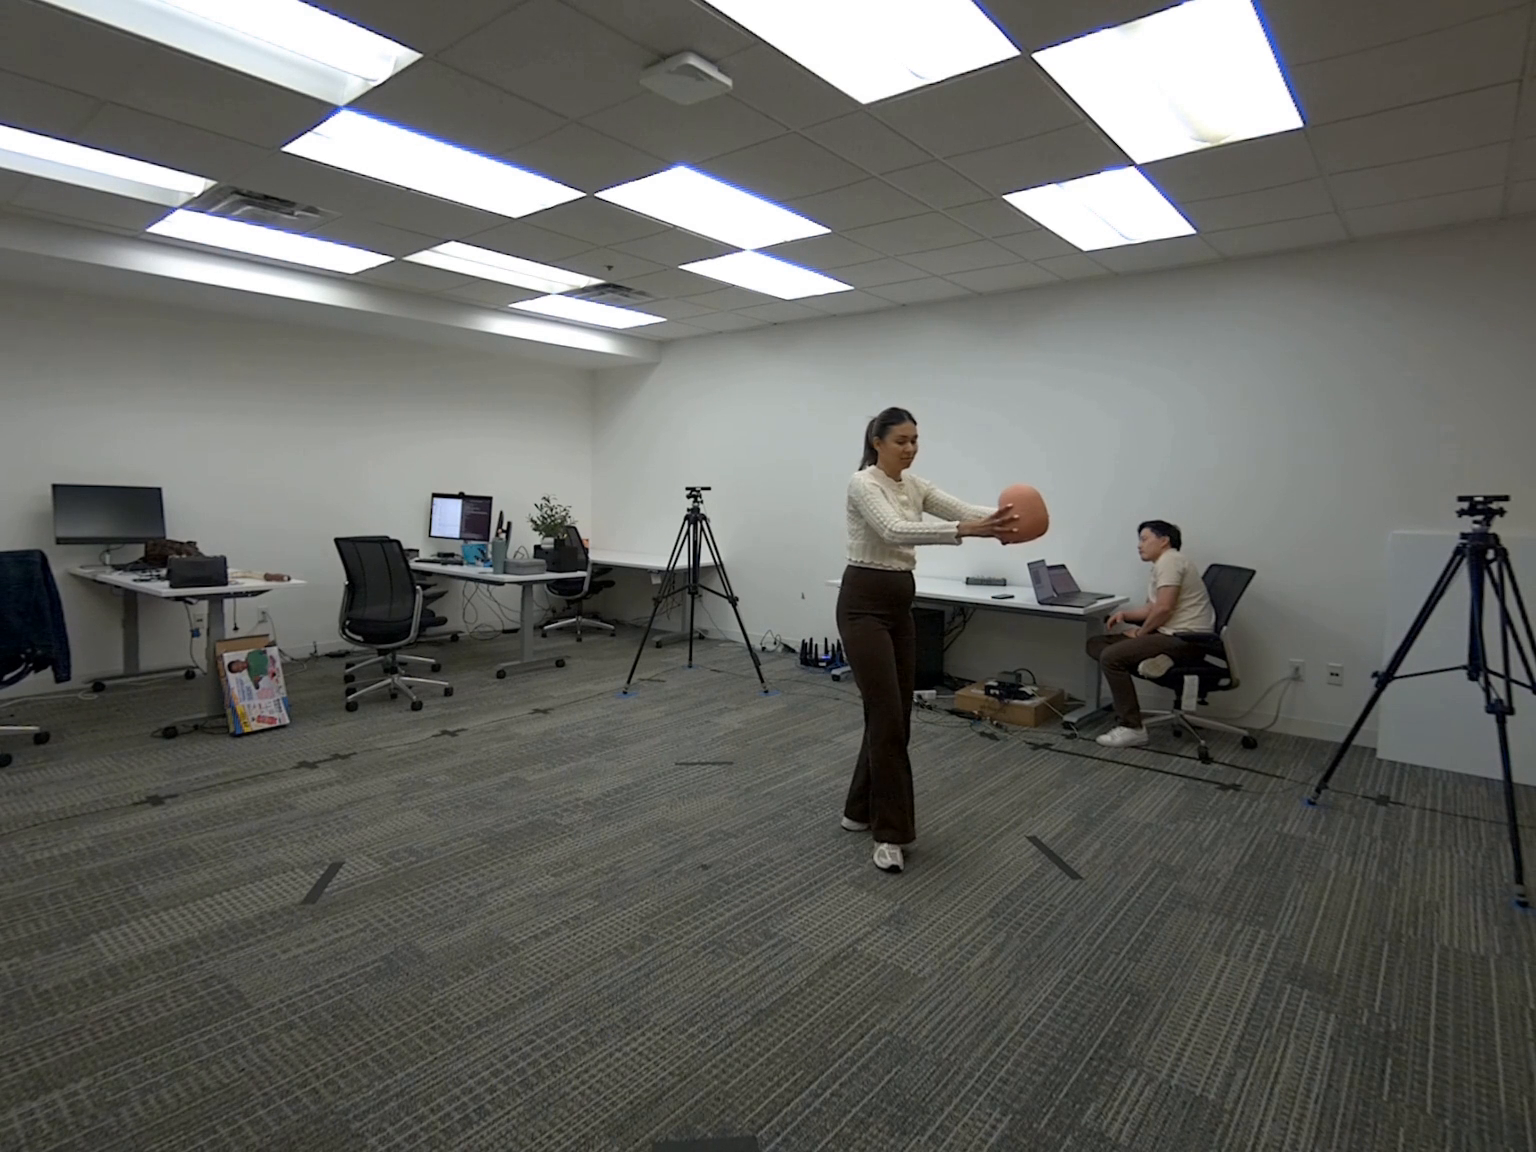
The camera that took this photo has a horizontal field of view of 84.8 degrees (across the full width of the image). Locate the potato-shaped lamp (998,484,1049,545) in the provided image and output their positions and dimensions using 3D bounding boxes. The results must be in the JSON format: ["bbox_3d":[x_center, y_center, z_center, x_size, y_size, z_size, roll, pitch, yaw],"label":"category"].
[{"bbox_3d":[0.857,-0.226,2.930,0.172,0.198,0.164,-9,1,5],"label":"potato-shaped lamp"}]
